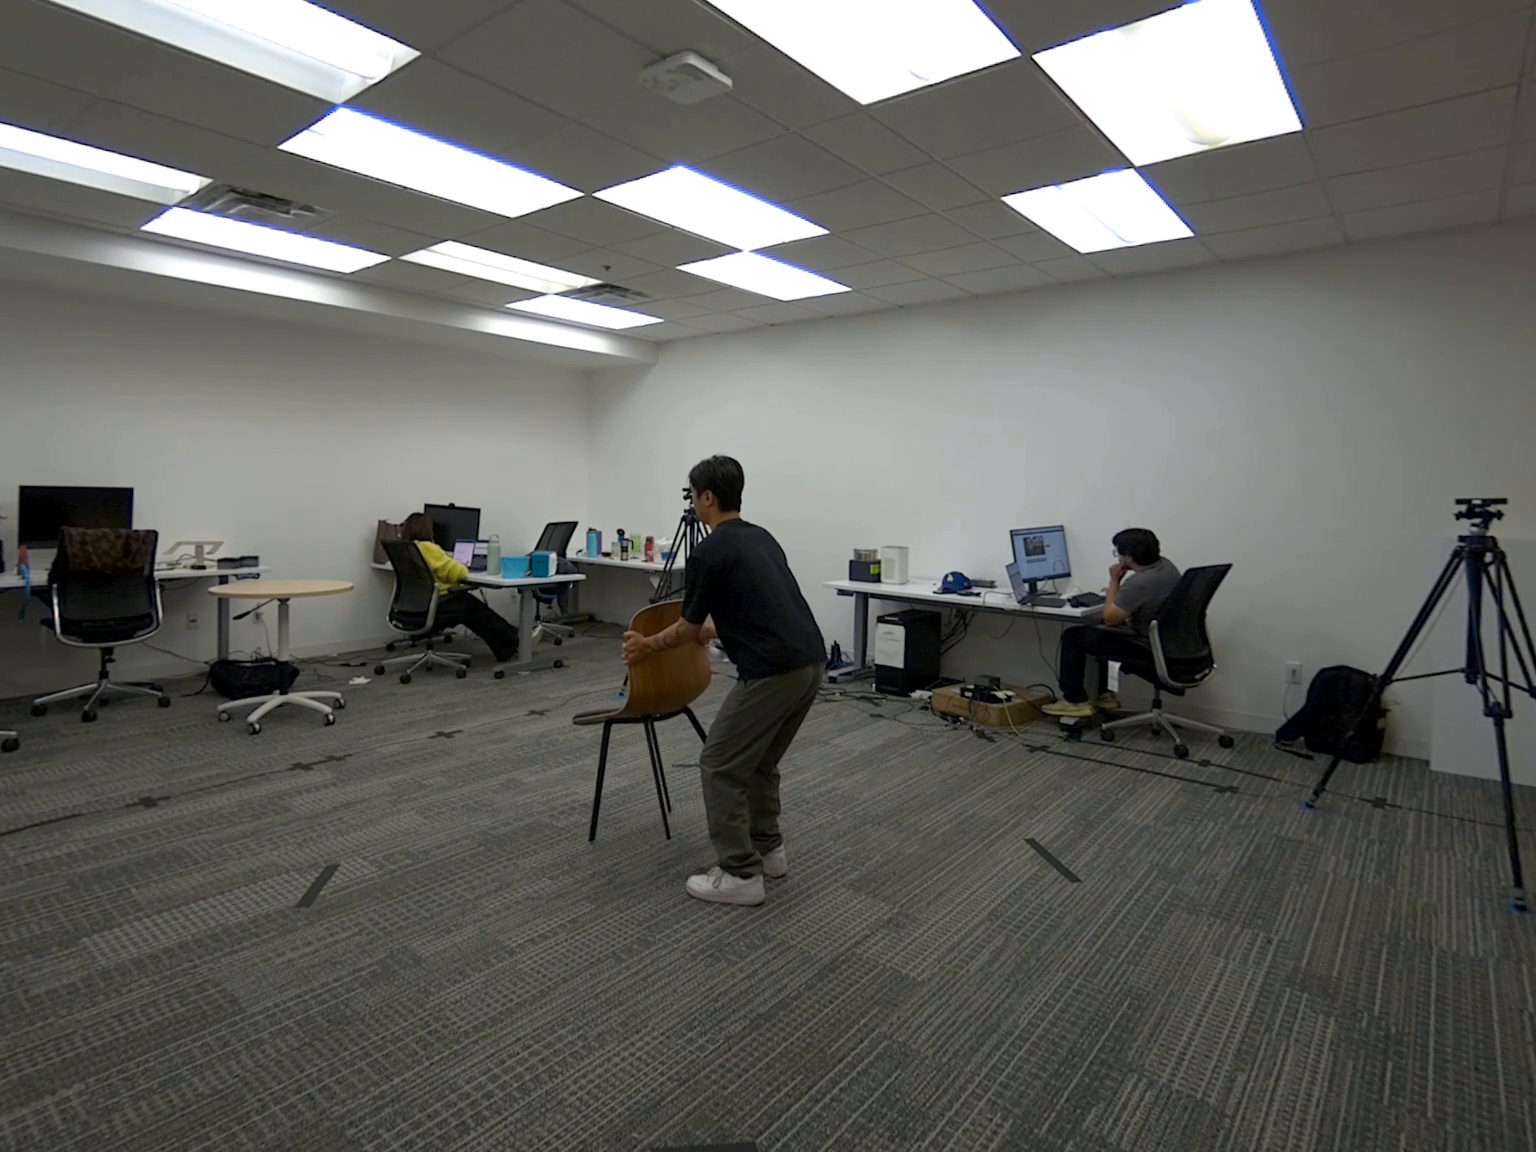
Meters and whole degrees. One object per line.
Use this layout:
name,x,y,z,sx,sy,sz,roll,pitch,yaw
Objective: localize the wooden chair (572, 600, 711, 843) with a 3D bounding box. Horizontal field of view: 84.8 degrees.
wooden chair,-0.498,0.558,3.400,0.536,0.882,0.464,-12,-5,40
